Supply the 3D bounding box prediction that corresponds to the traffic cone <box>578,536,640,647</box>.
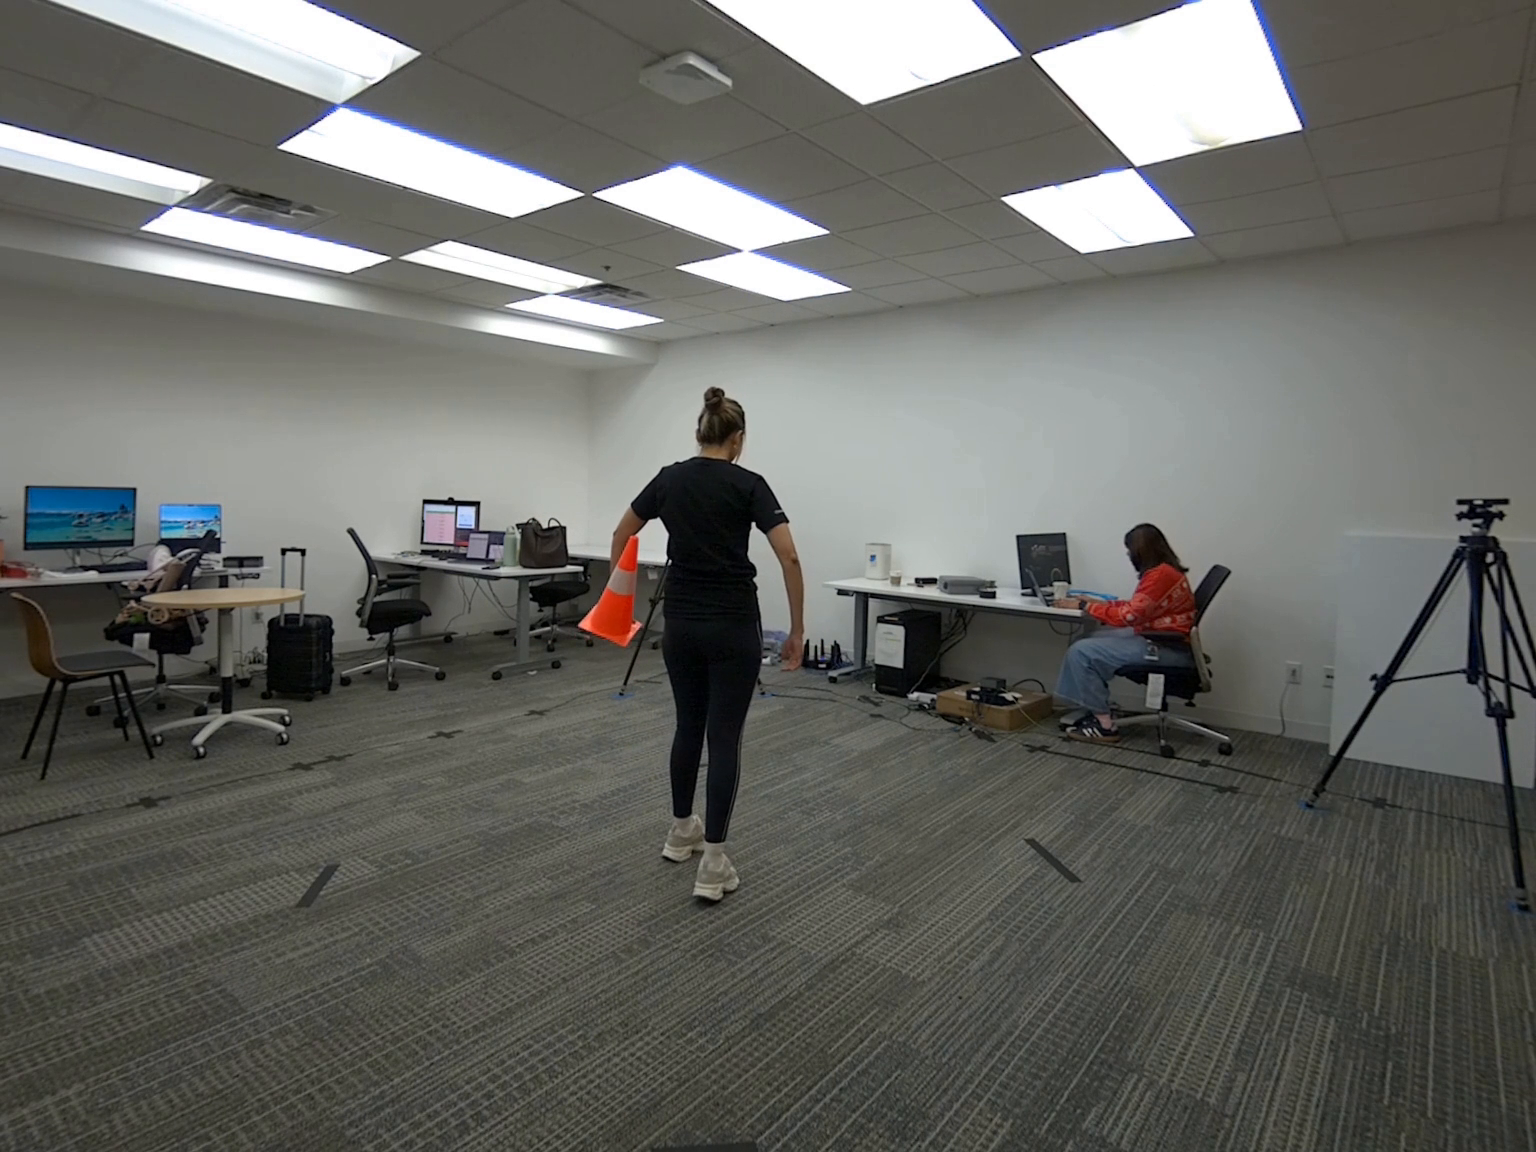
[{"bbox_3d":[-0.539,0.023,3.156,0.206,0.379,0.205,22,22,8],"label":"traffic cone"}]
